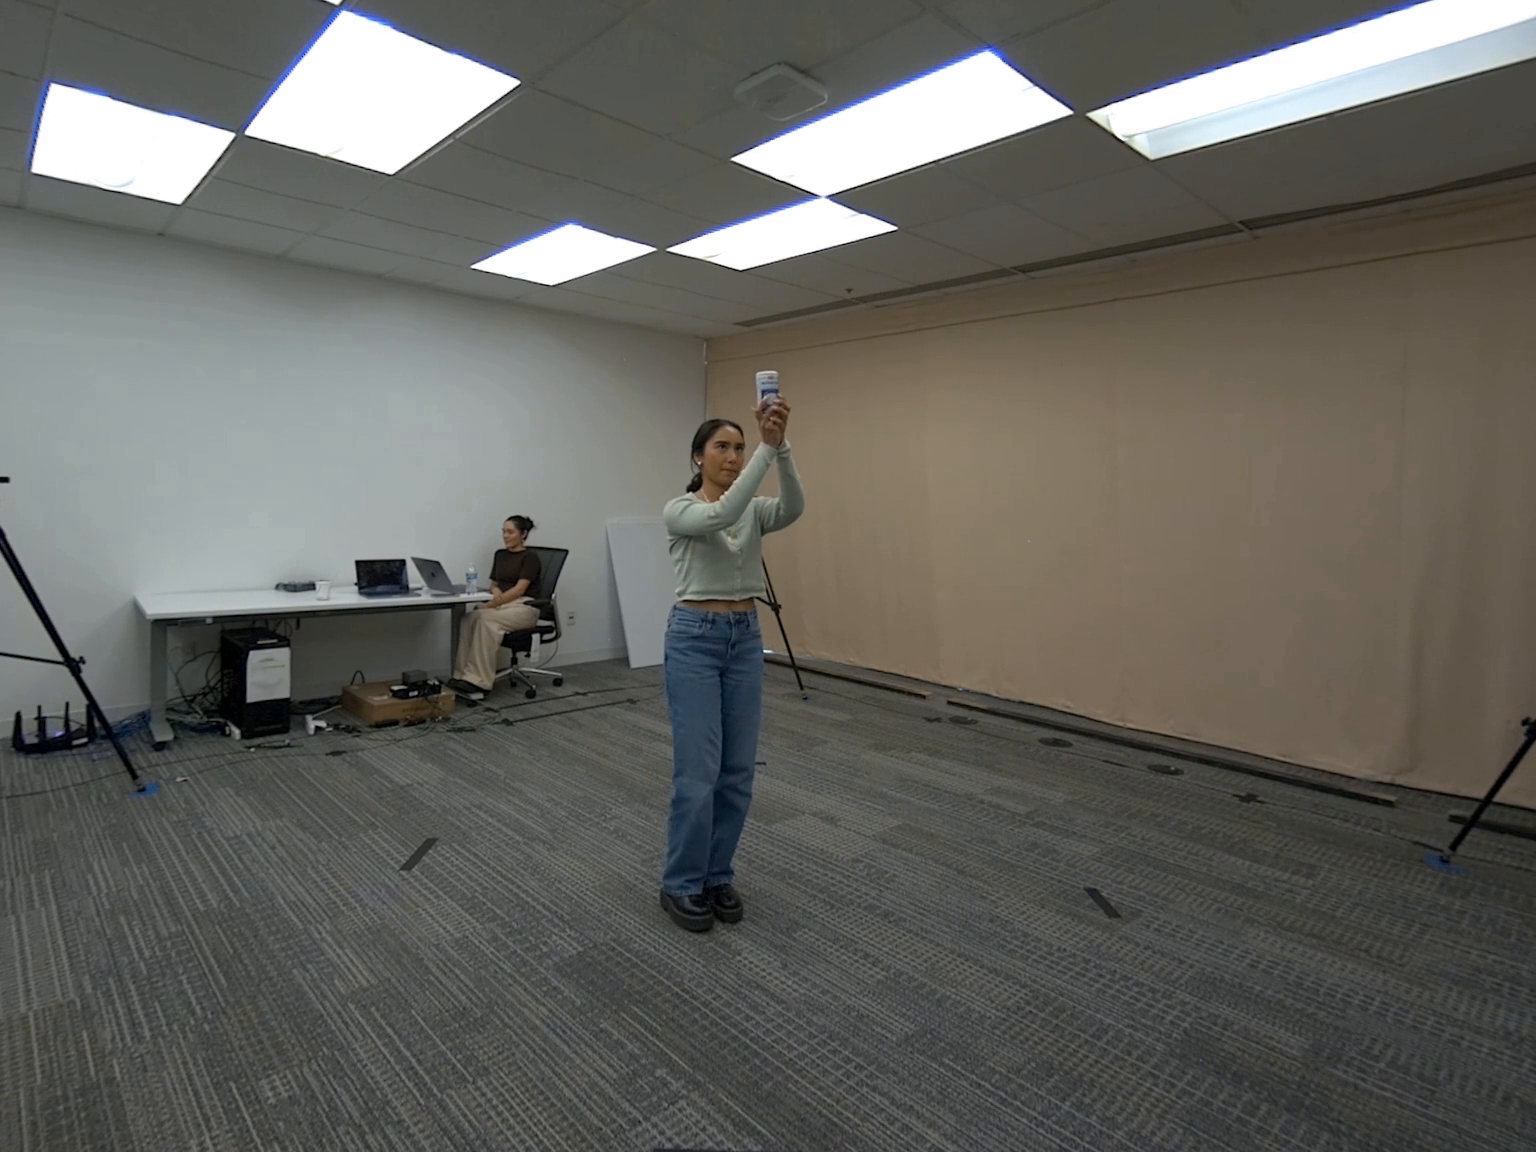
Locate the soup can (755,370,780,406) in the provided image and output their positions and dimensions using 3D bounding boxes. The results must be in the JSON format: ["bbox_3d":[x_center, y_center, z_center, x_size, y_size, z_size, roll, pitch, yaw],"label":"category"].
[{"bbox_3d":[-0.007,-0.546,2.516,0.067,0.121,0.067,-1,5,-1],"label":"soup can"}]
